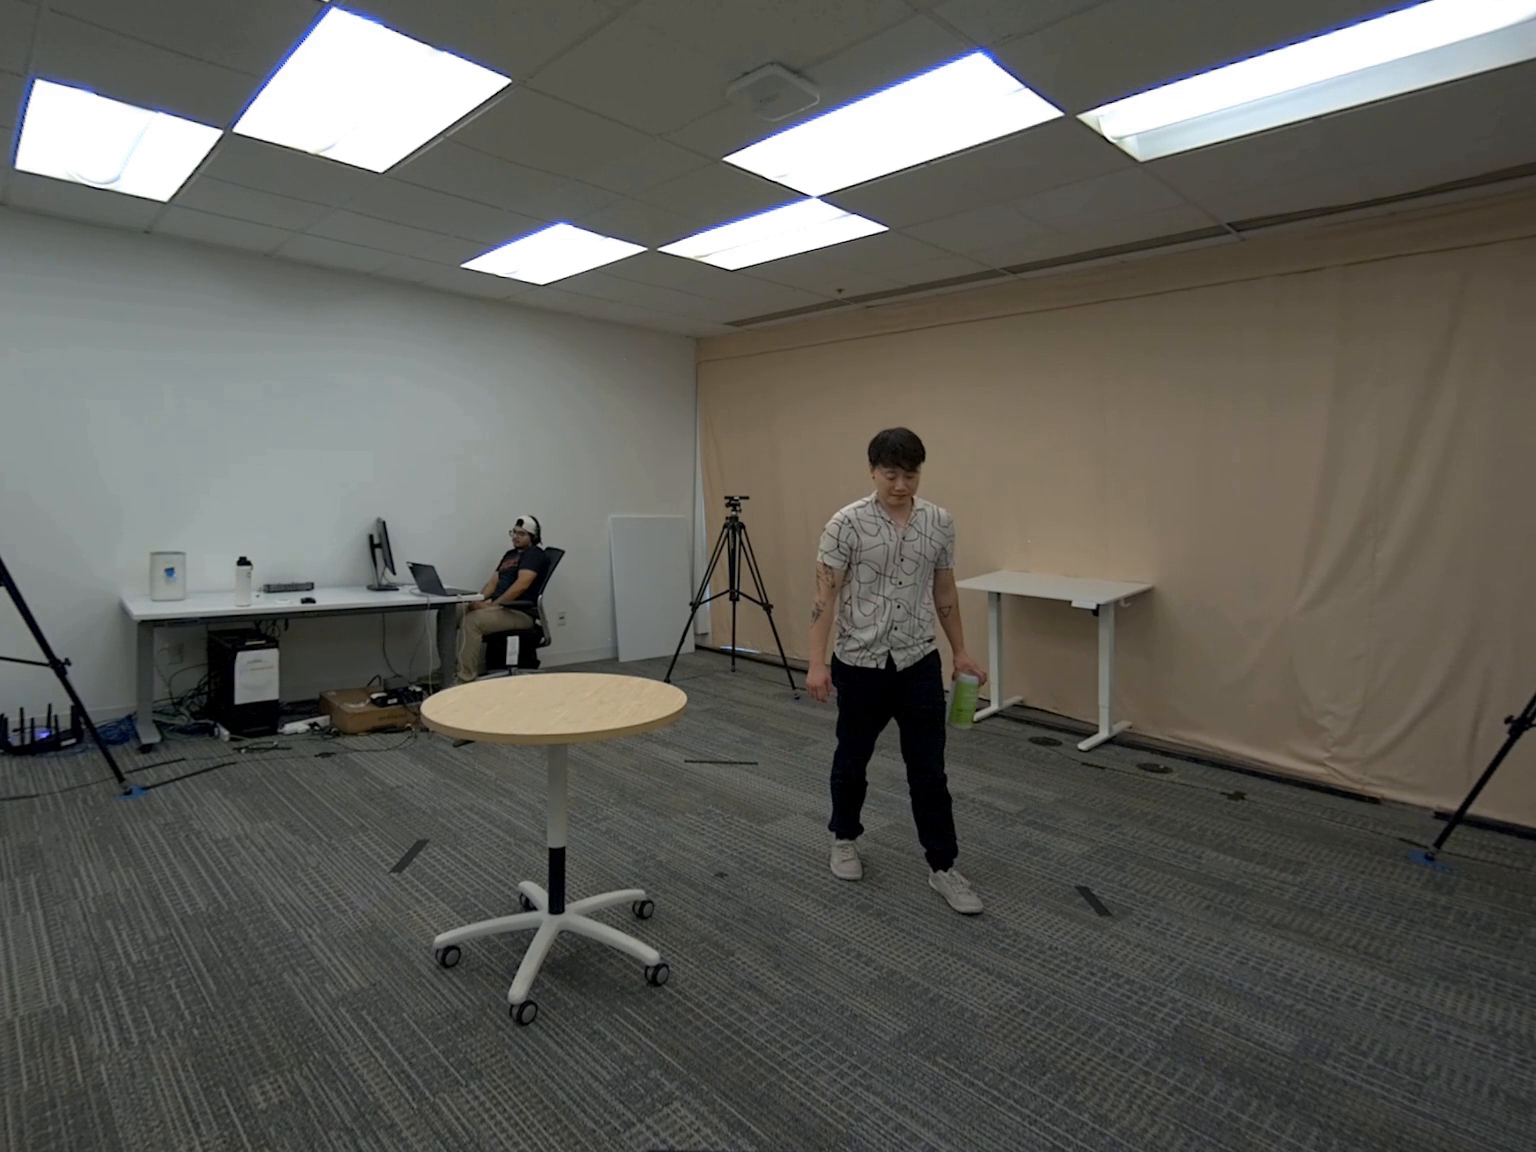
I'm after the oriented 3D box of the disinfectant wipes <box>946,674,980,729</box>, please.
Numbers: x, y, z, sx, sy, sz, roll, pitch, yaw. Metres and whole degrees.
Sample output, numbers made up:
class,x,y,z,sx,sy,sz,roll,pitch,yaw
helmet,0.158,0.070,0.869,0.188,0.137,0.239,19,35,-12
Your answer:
class,x,y,z,sx,sy,sz,roll,pitch,yaw
disinfectant wipes,0.727,0.461,3.173,0.117,0.216,0.119,8,11,-3
